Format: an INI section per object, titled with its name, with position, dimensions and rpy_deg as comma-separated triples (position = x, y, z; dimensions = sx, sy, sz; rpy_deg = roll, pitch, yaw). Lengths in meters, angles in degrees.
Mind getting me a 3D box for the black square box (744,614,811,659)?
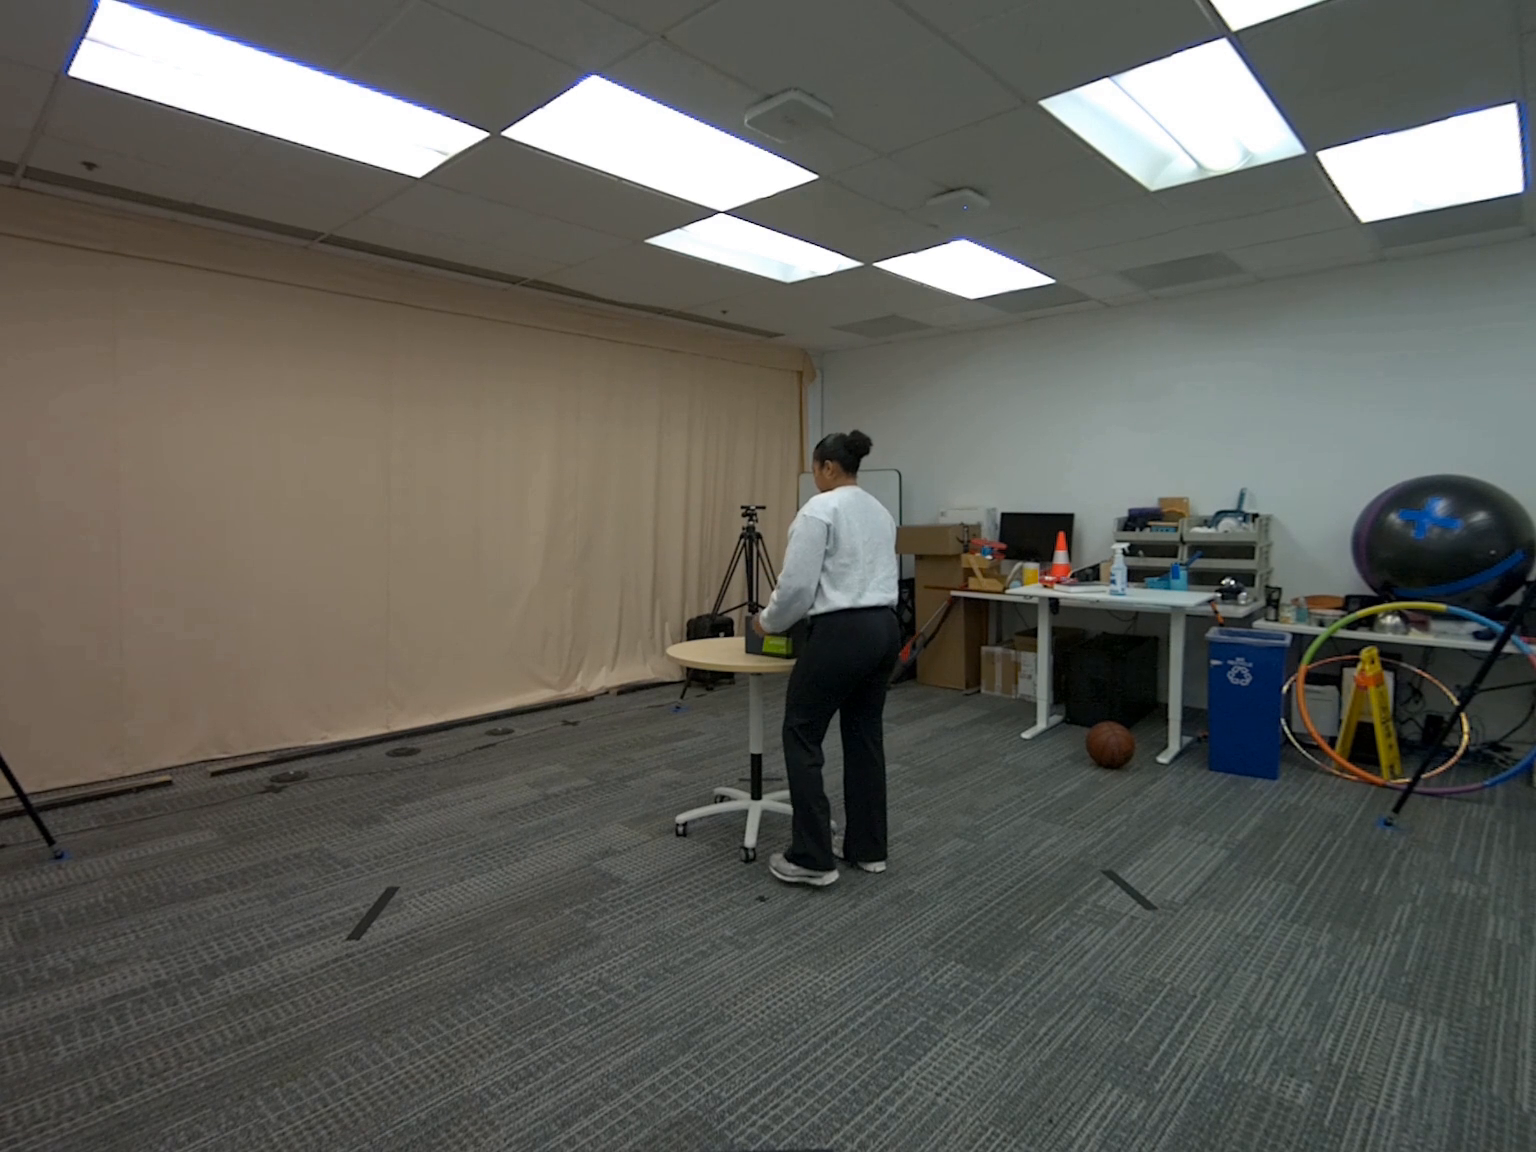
[black square box]
position = 0.055, 0.239, 3.483
dimensions = 0.235, 0.155, 0.210
rpy_deg = 3, 4, 42
